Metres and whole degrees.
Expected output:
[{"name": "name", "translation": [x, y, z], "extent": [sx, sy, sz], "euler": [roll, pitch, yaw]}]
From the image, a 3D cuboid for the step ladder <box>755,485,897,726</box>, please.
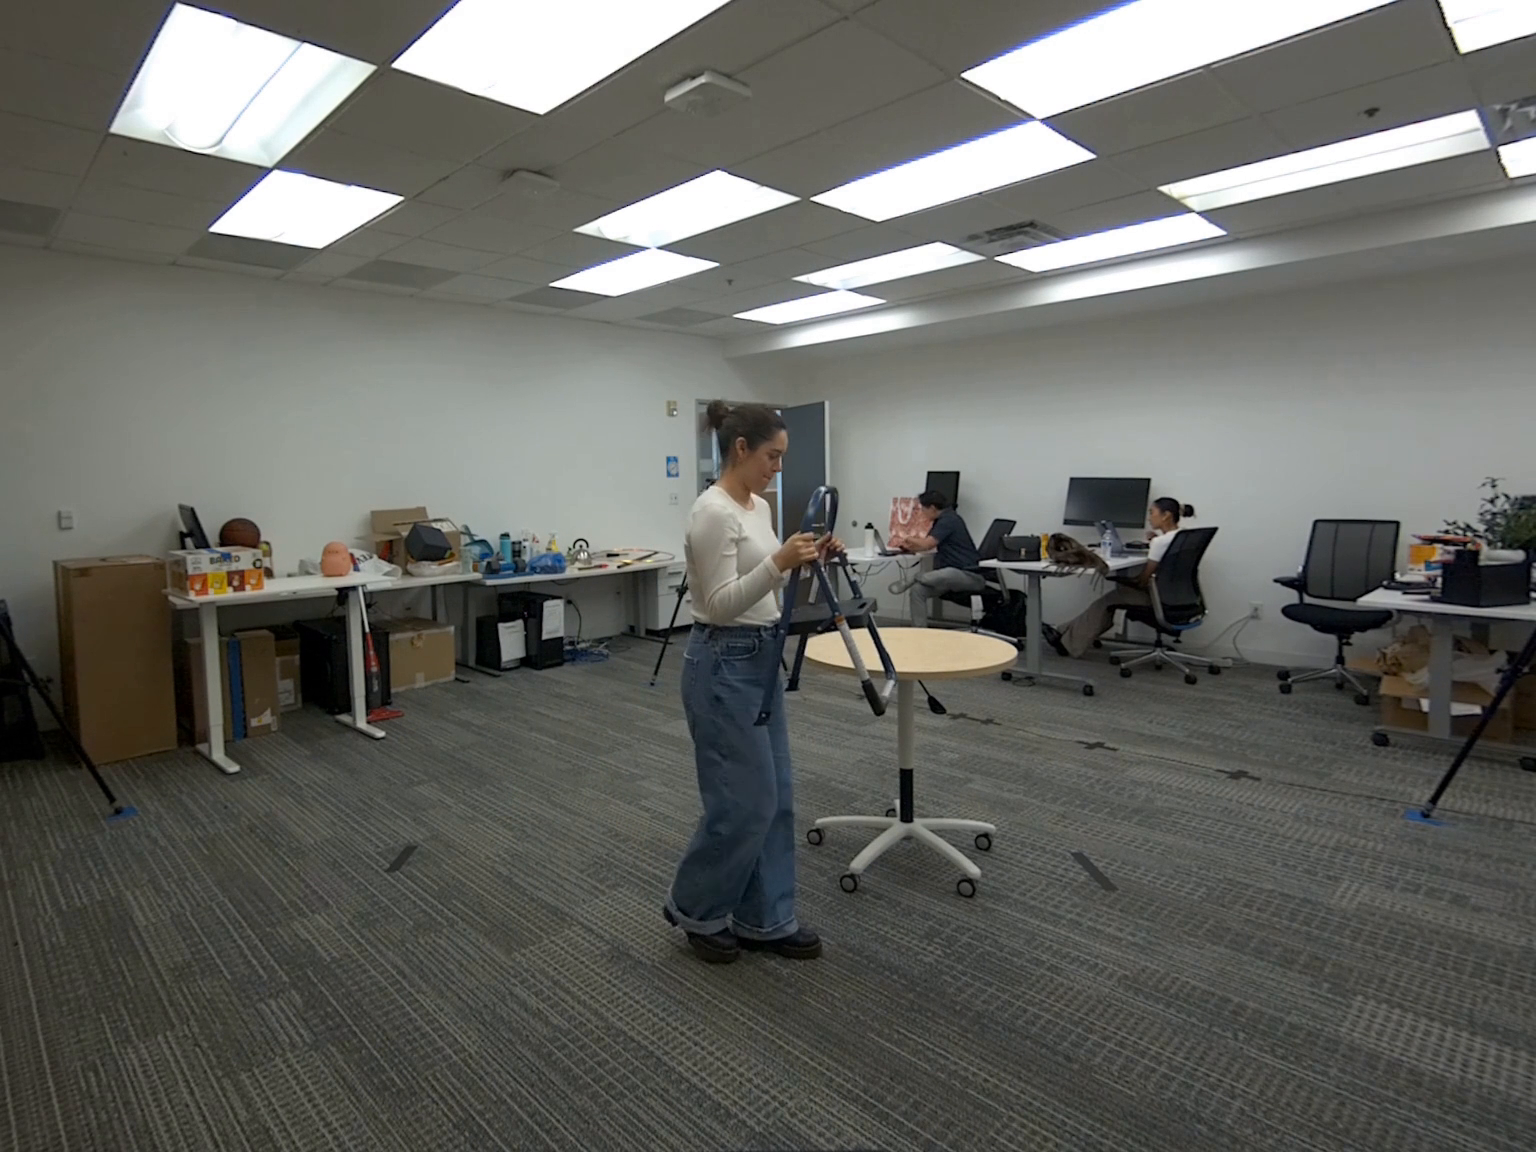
[{"name": "step ladder", "translation": [0.135, 0.059, 2.413], "extent": [0.354, 0.605, 0.426], "euler": [-7, 2, 14]}]
